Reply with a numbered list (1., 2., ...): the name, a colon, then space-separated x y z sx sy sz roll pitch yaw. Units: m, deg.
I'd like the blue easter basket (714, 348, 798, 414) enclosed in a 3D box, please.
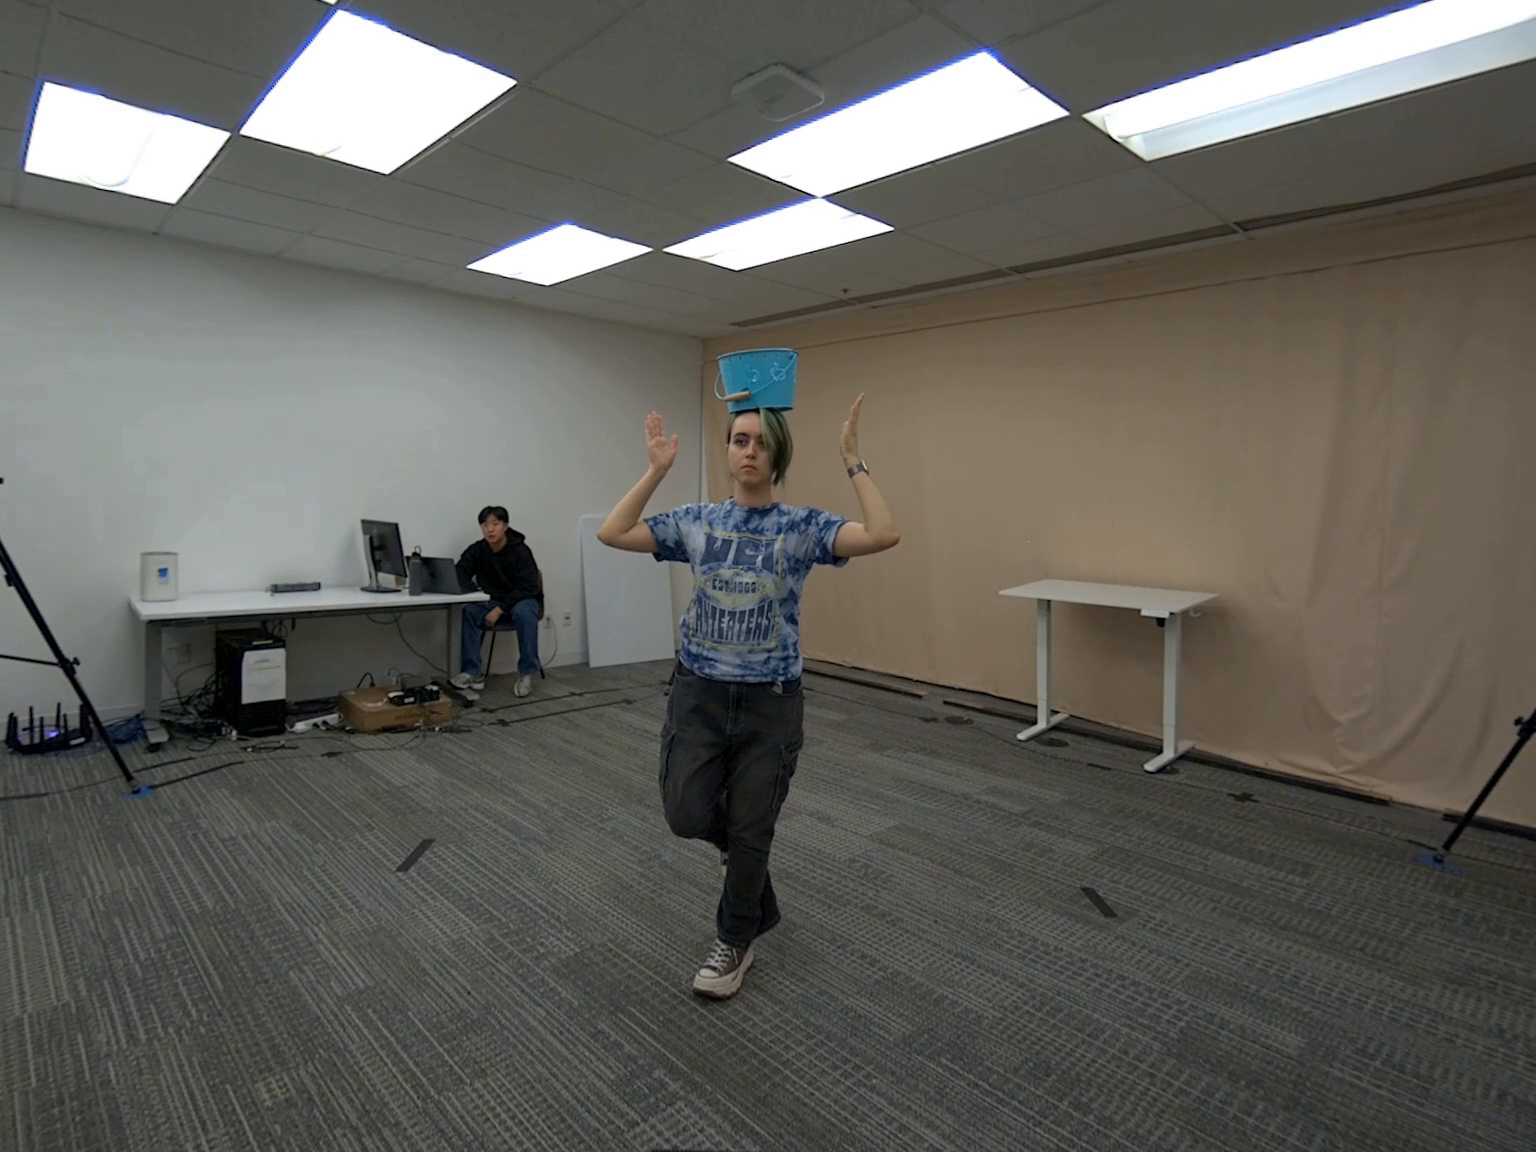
1. blue easter basket: -0.025 -0.534 2.341 0.243 0.155 0.245 -2 6 -1
